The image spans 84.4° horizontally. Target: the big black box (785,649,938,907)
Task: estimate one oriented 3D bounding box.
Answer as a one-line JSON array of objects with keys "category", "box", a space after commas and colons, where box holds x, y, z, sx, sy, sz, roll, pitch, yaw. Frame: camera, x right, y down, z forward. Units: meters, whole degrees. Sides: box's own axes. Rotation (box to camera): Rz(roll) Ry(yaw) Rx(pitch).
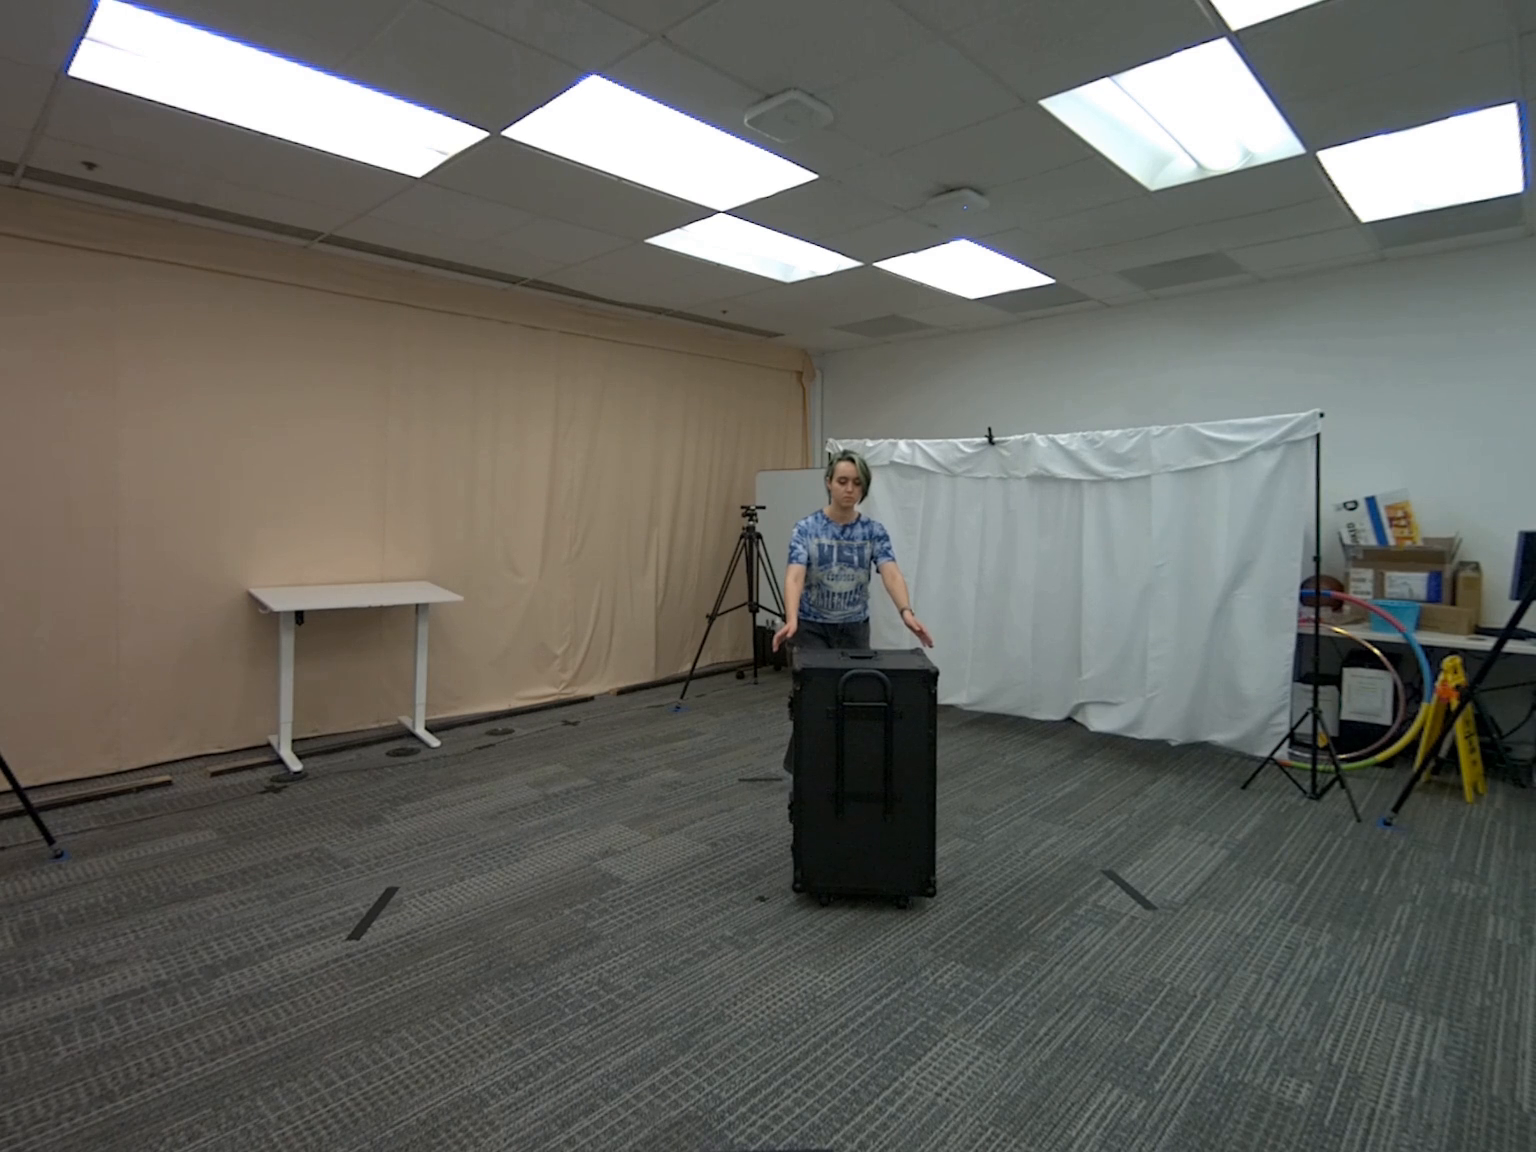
[{"category": "big black box", "box": [0.340, 0.717, 3.004, 0.524, 0.859, 0.395, 0, 5, 5]}]
